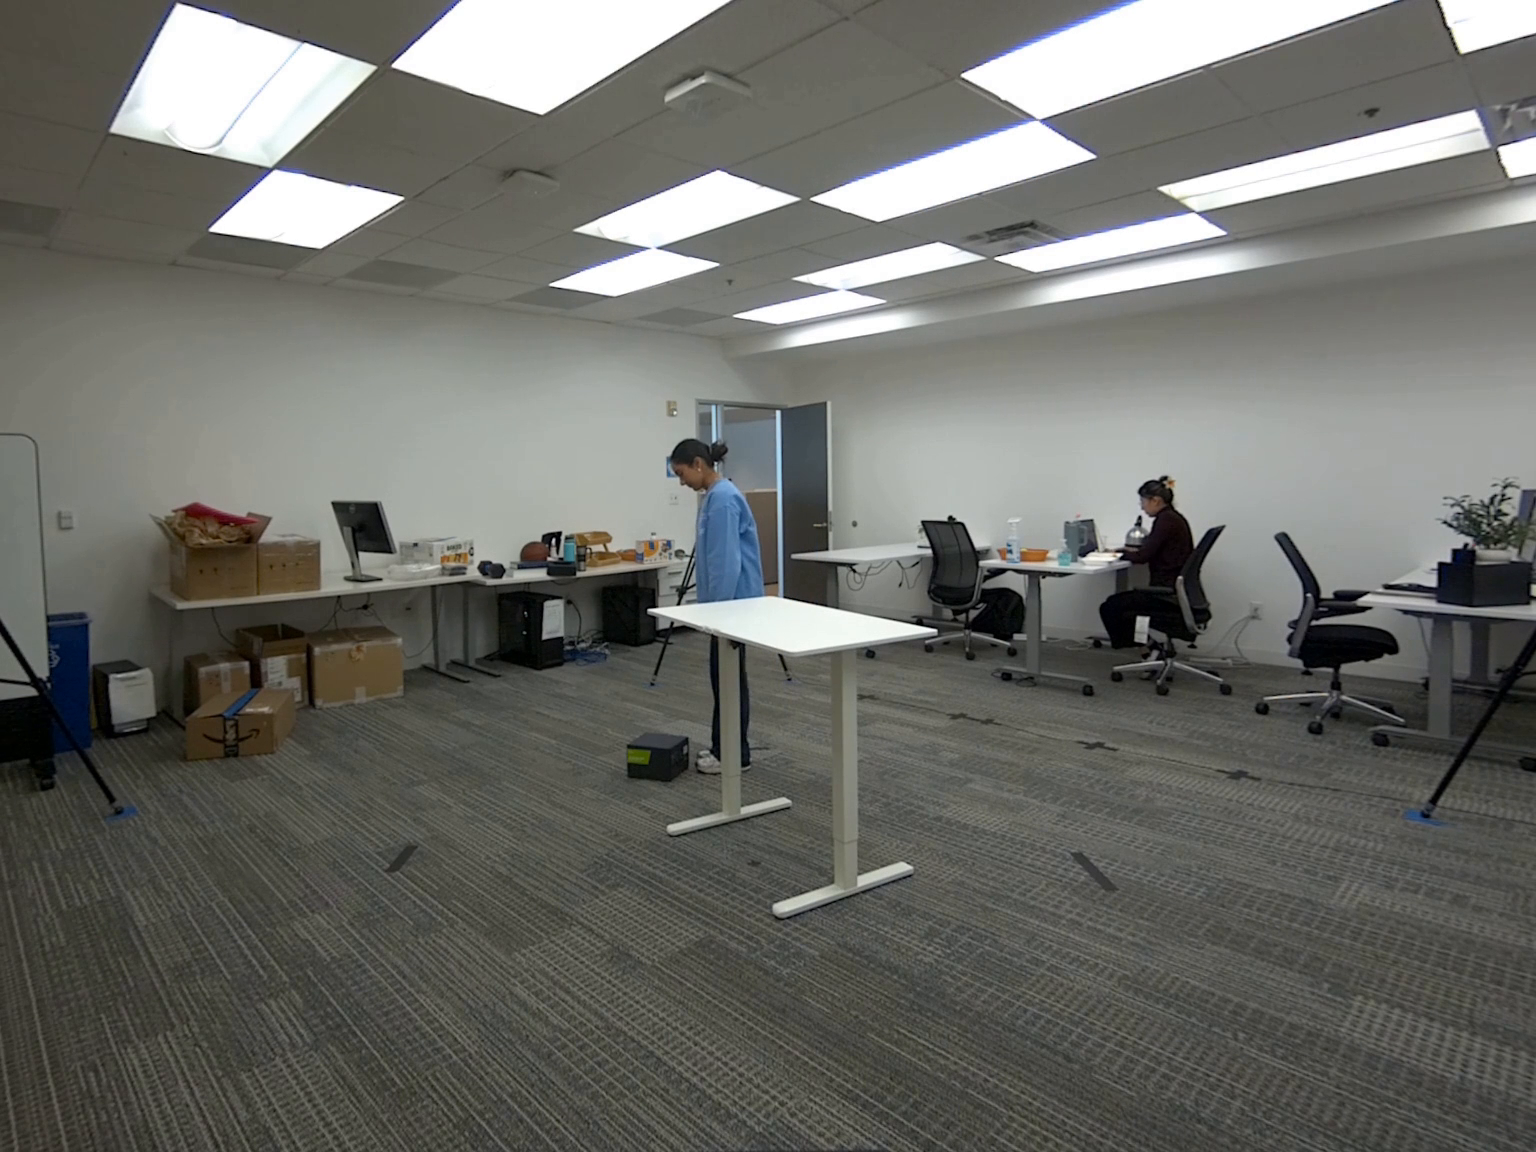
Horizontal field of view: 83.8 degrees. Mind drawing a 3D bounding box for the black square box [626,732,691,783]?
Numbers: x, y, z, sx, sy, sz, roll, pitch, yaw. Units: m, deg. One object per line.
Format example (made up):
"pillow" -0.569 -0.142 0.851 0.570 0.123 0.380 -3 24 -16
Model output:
"black square box" -0.527 0.861 4.096 0.232 0.155 0.214 1 5 20
